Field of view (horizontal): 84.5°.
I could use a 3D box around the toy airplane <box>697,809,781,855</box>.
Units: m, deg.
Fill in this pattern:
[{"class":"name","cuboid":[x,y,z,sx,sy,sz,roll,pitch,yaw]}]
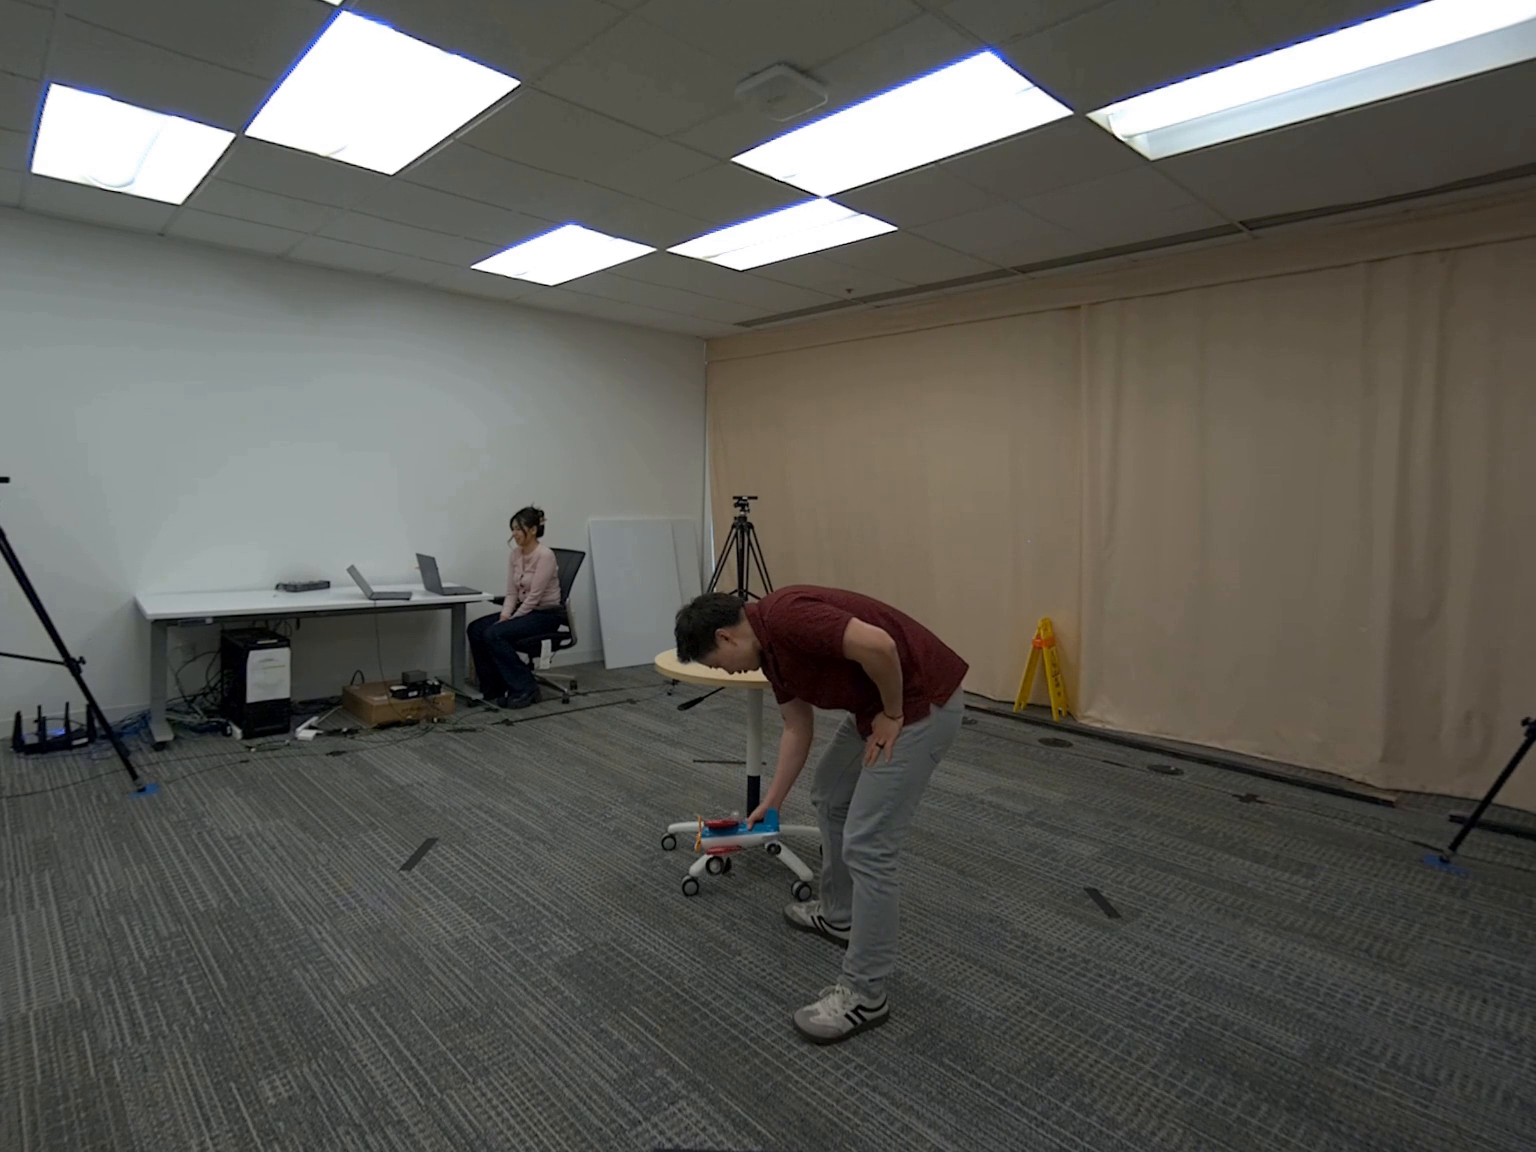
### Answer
[{"class":"toy airplane","cuboid":[-0.091,0.796,2.556,0.256,0.159,0.250,-12,-20,-22]}]
